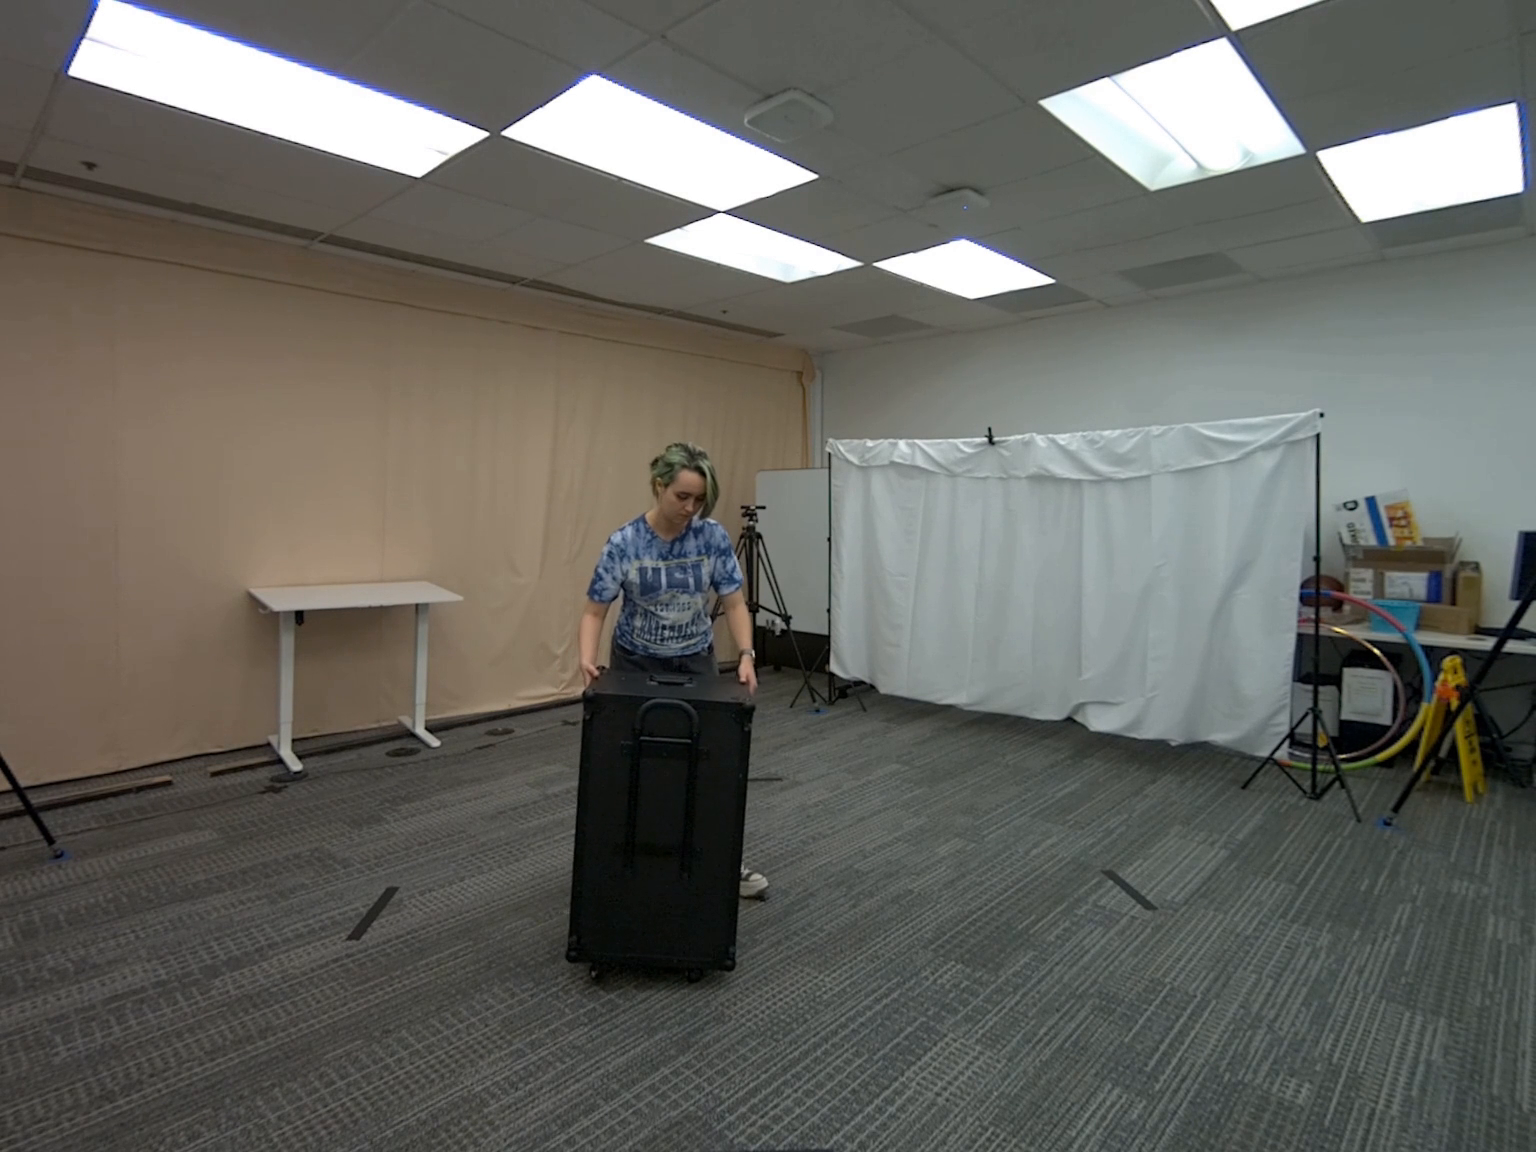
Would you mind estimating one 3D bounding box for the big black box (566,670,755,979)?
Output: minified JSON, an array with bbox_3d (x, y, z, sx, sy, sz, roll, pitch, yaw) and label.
[{"bbox_3d":[-0.314,0.749,2.546,0.520,0.859,0.398,4,4,-3],"label":"big black box"}]
